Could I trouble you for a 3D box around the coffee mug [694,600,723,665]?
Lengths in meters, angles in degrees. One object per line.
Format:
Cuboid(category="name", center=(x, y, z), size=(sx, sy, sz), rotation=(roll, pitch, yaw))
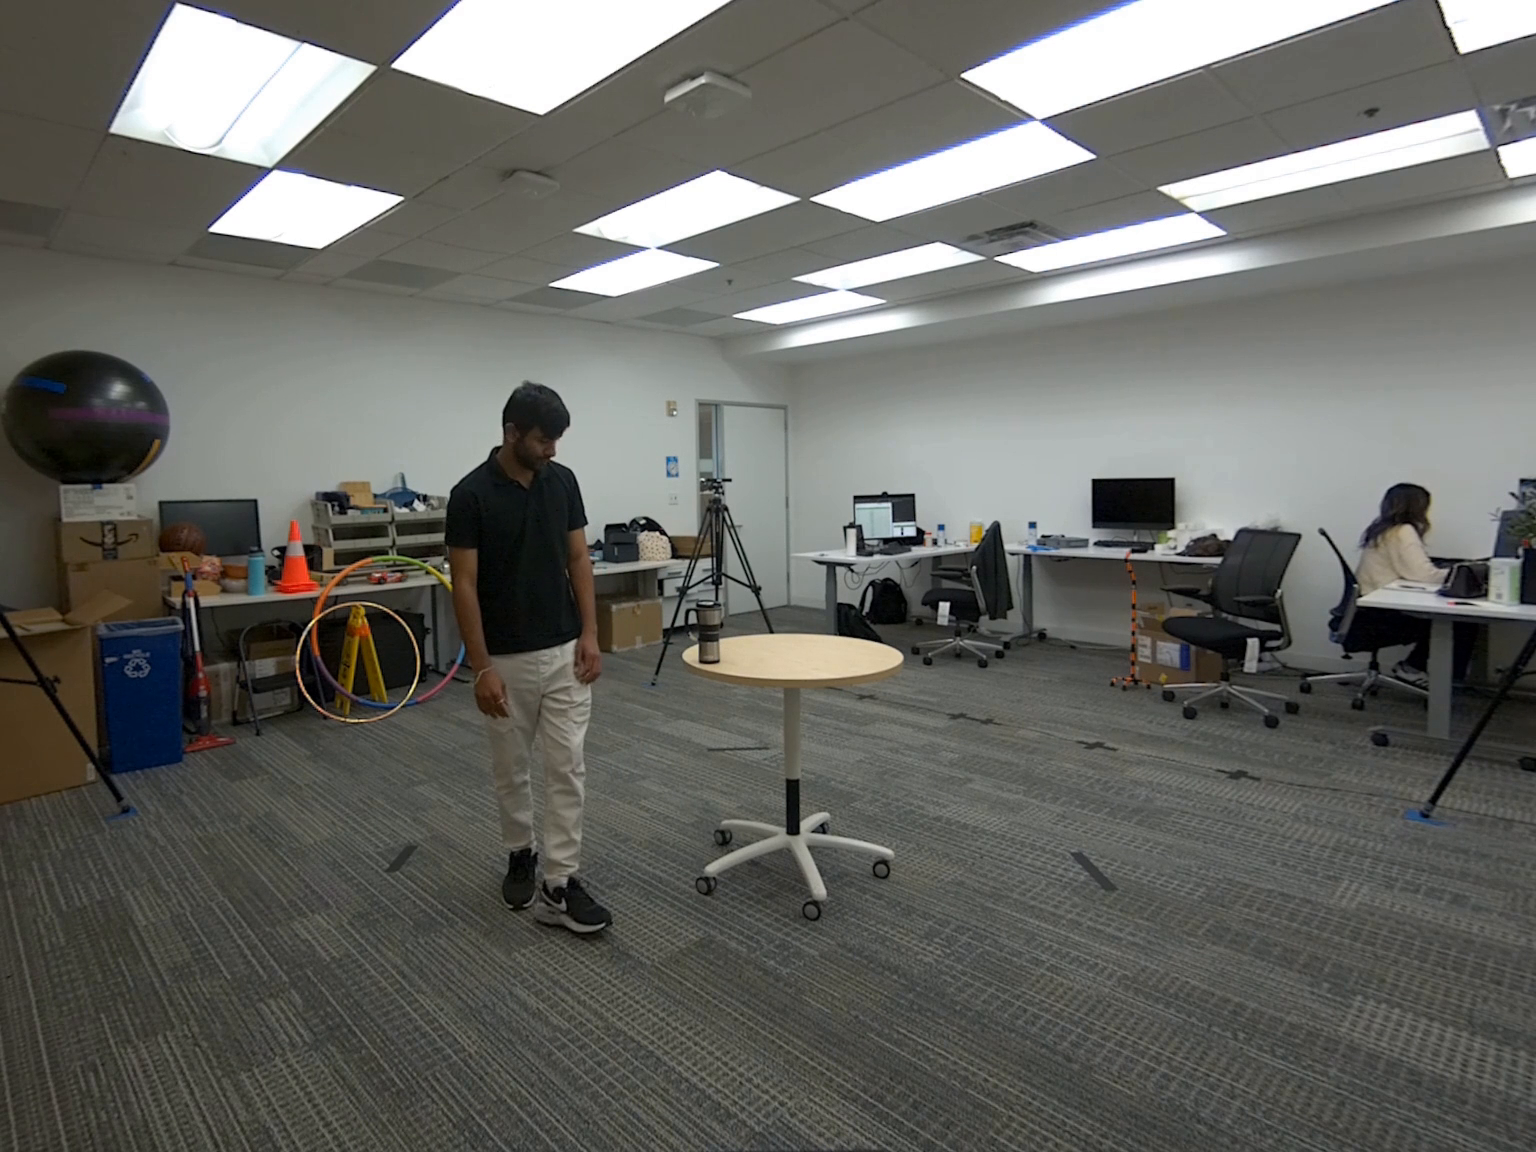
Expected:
Cuboid(category="coffee mug", center=(-0.211, 0.187, 2.865), size=(0.125, 0.201, 0.086), rotation=(6, 9, 34))
